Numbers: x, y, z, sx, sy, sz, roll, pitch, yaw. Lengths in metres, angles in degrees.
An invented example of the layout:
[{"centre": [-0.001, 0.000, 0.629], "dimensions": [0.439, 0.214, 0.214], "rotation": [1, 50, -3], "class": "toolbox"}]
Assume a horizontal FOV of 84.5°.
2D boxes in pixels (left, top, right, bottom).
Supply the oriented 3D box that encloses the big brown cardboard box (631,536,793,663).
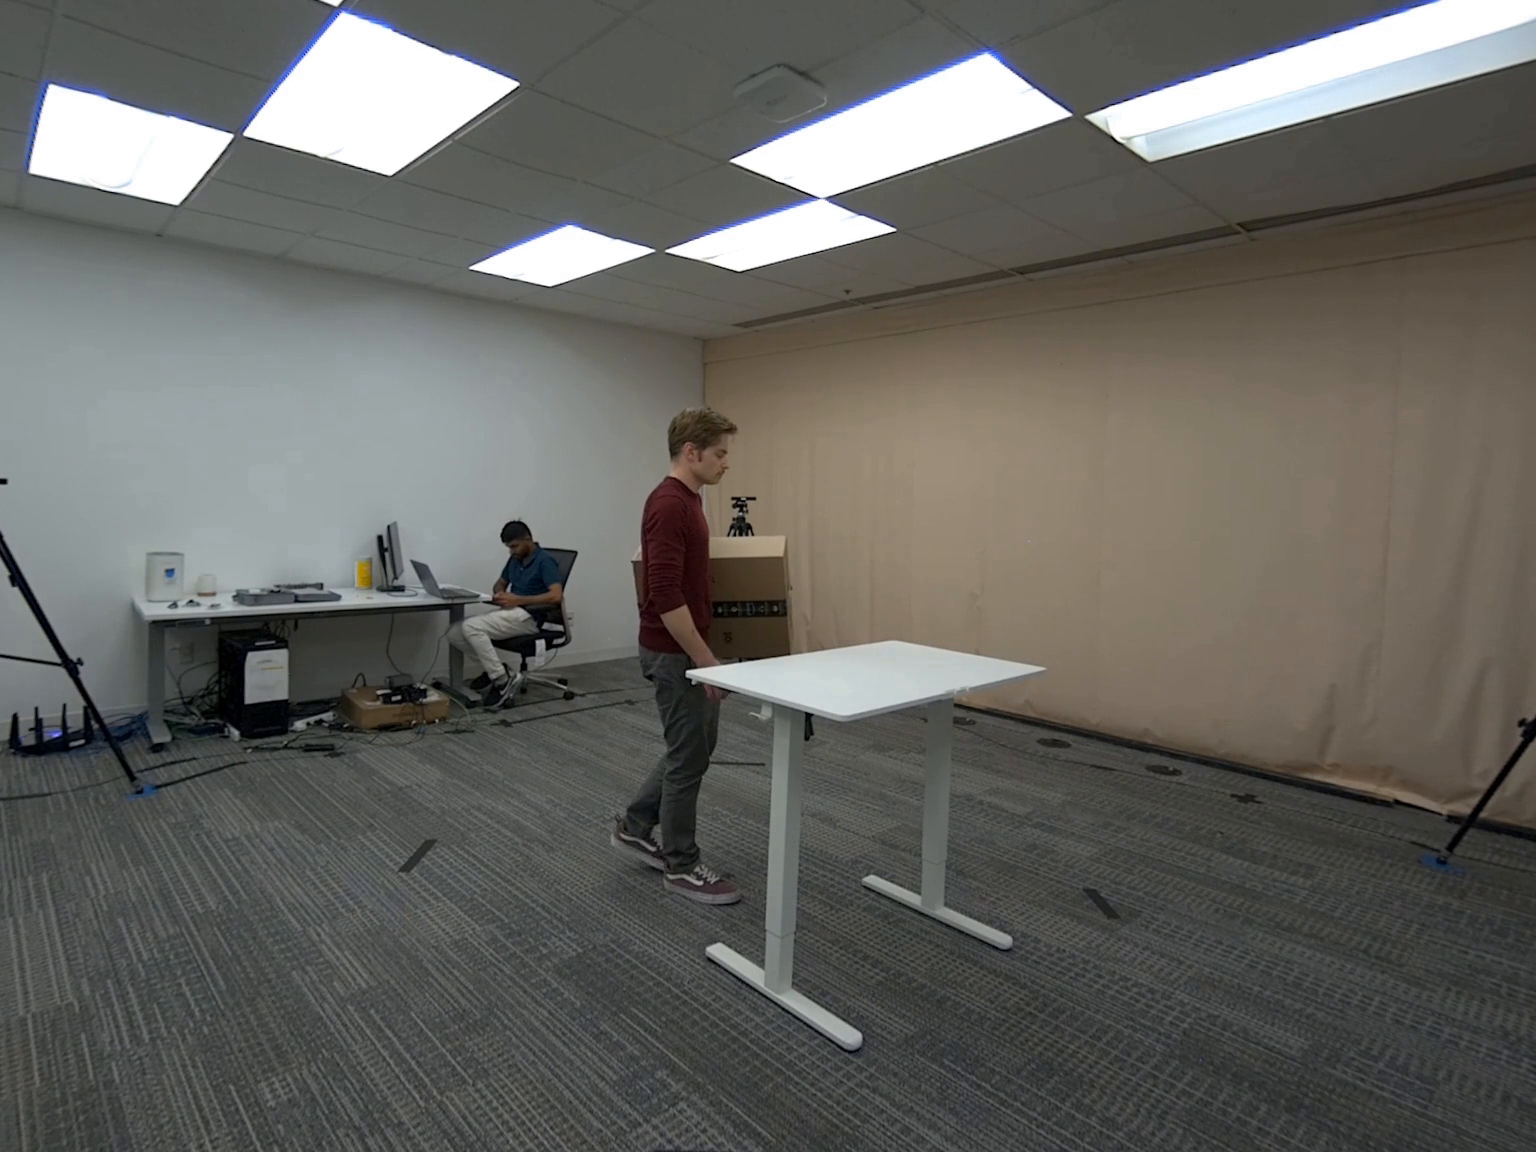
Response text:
[{"centre": [-0.206, 0.082, 3.234], "dimensions": [0.593, 0.411, 0.235], "rotation": [0, 21, 9], "class": "big brown cardboard box"}]
